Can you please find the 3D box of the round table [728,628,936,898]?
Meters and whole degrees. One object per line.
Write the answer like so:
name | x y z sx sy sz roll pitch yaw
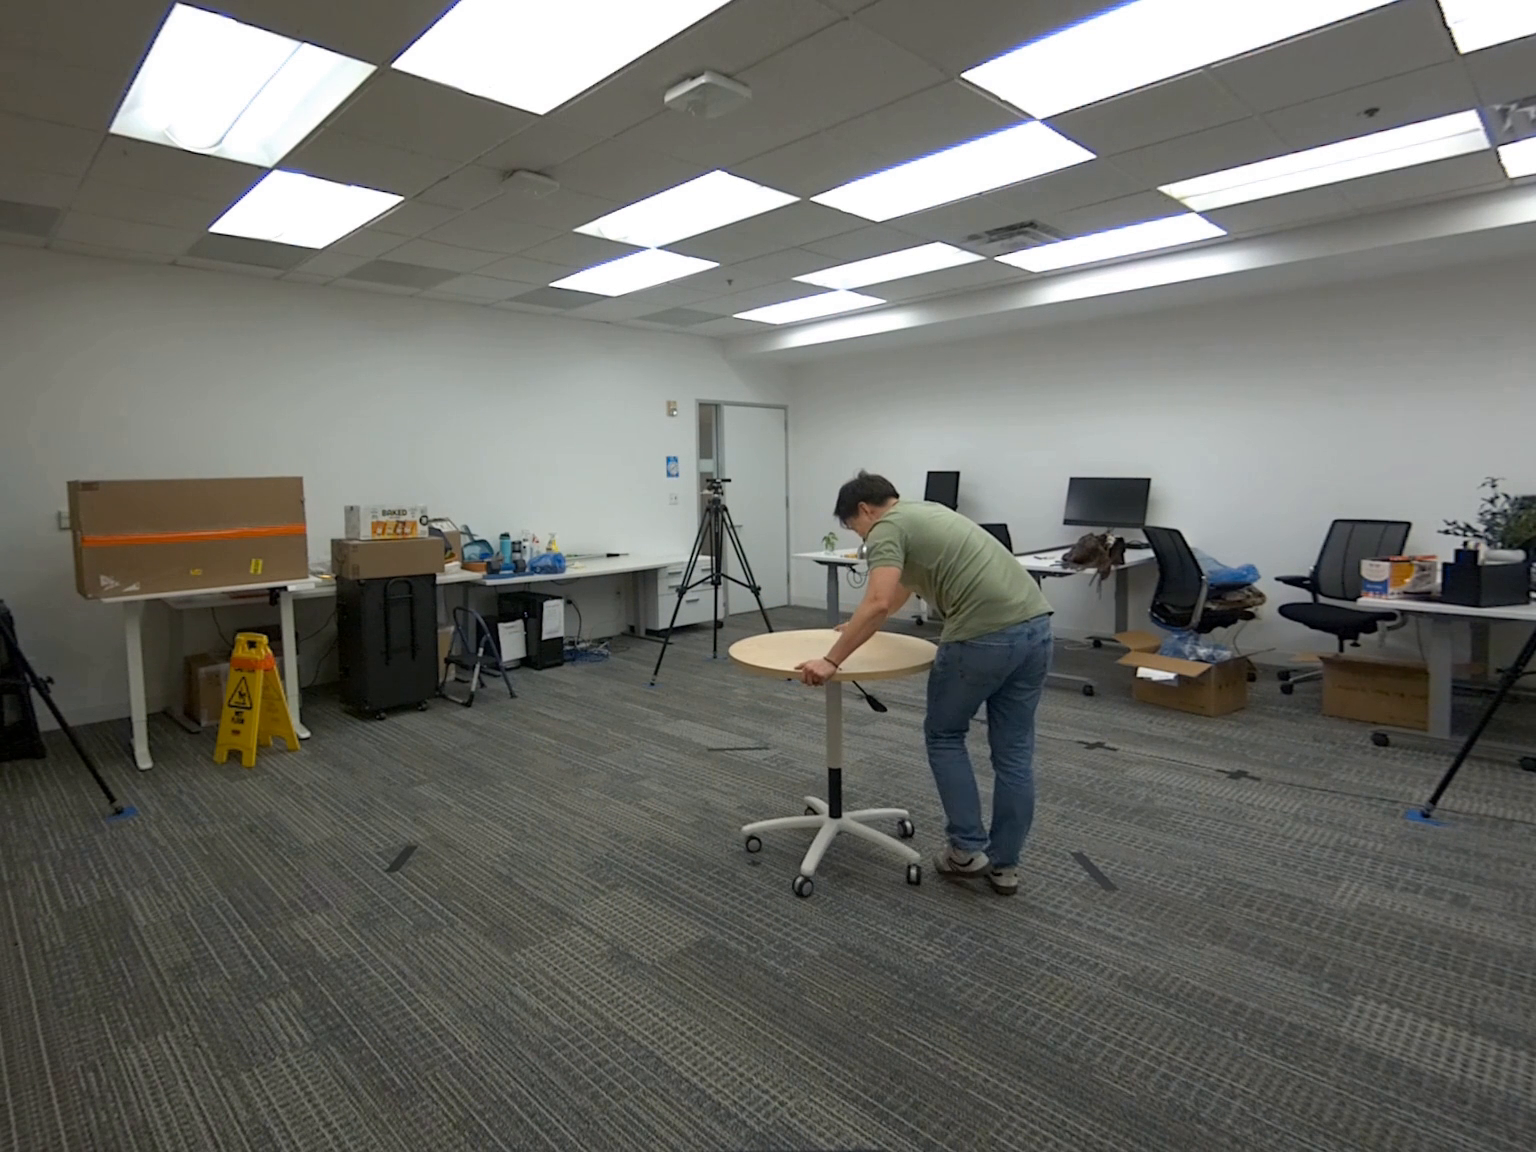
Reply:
round table | 0.248 0.650 3.158 0.763 0.791 0.768 -1 5 -2
